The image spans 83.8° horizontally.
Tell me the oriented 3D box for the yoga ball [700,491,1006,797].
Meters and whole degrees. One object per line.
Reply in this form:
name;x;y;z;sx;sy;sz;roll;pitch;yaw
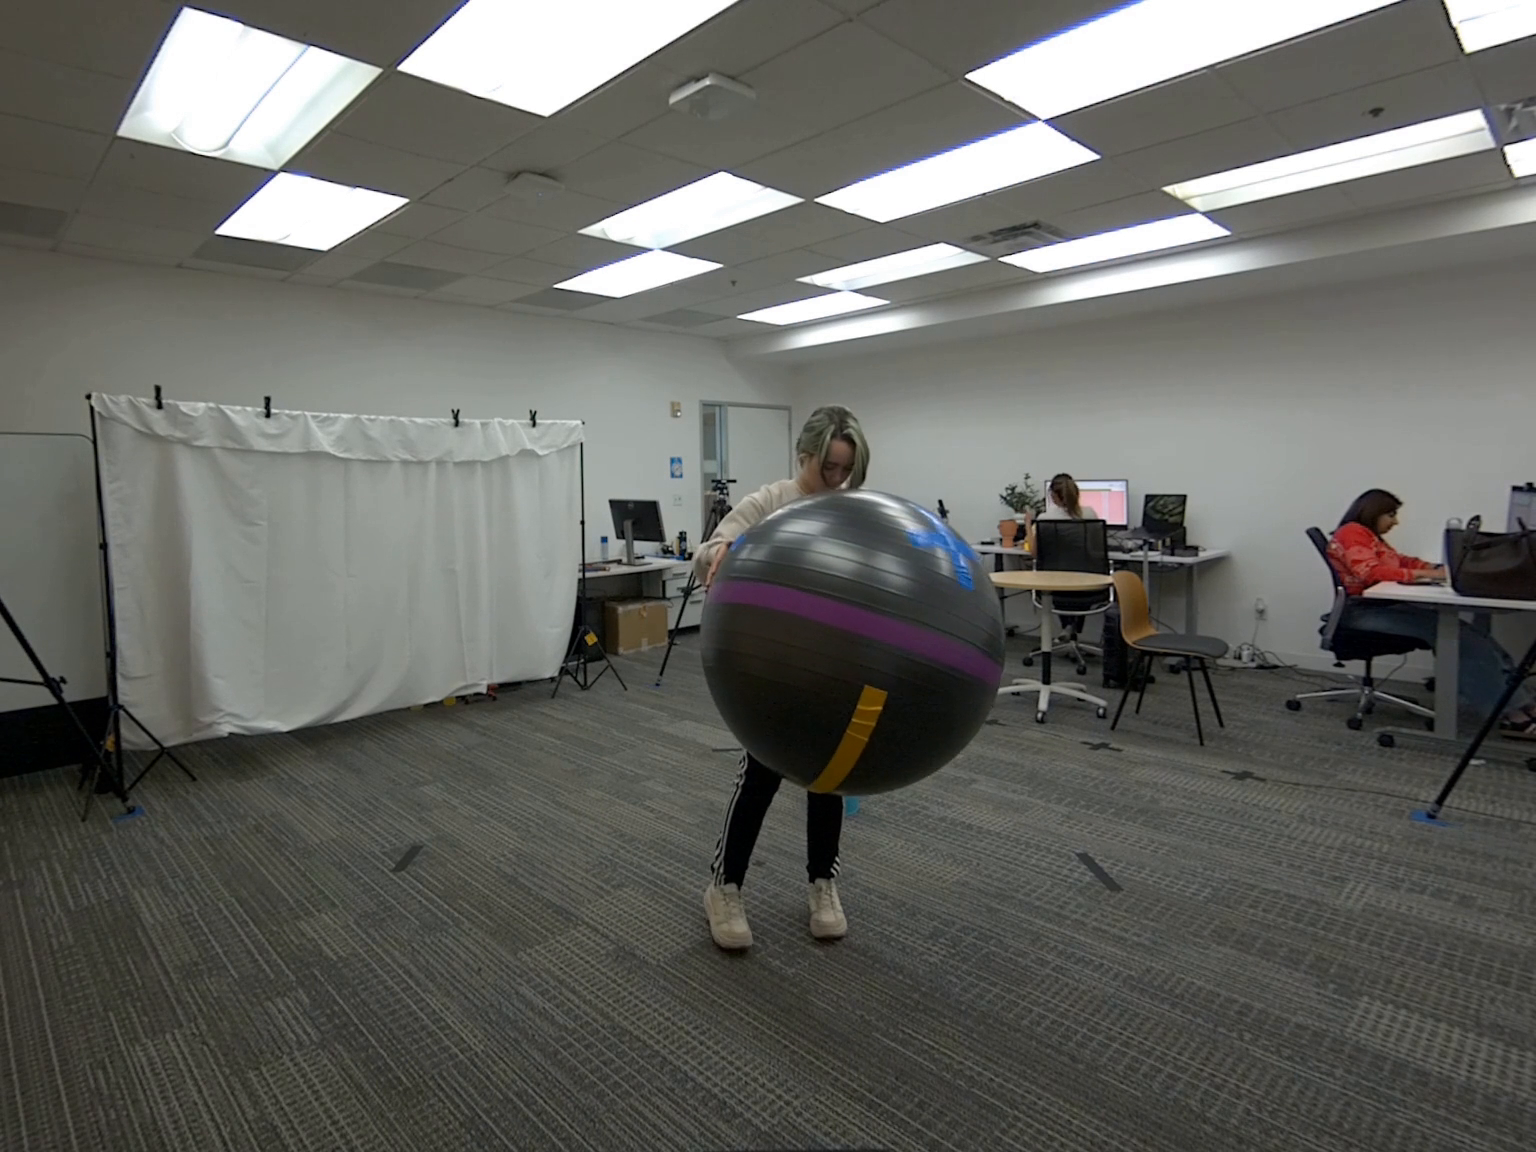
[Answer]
yoga ball;0.209;0.170;2.145;0.757;0.755;0.762;-1;5;-2
